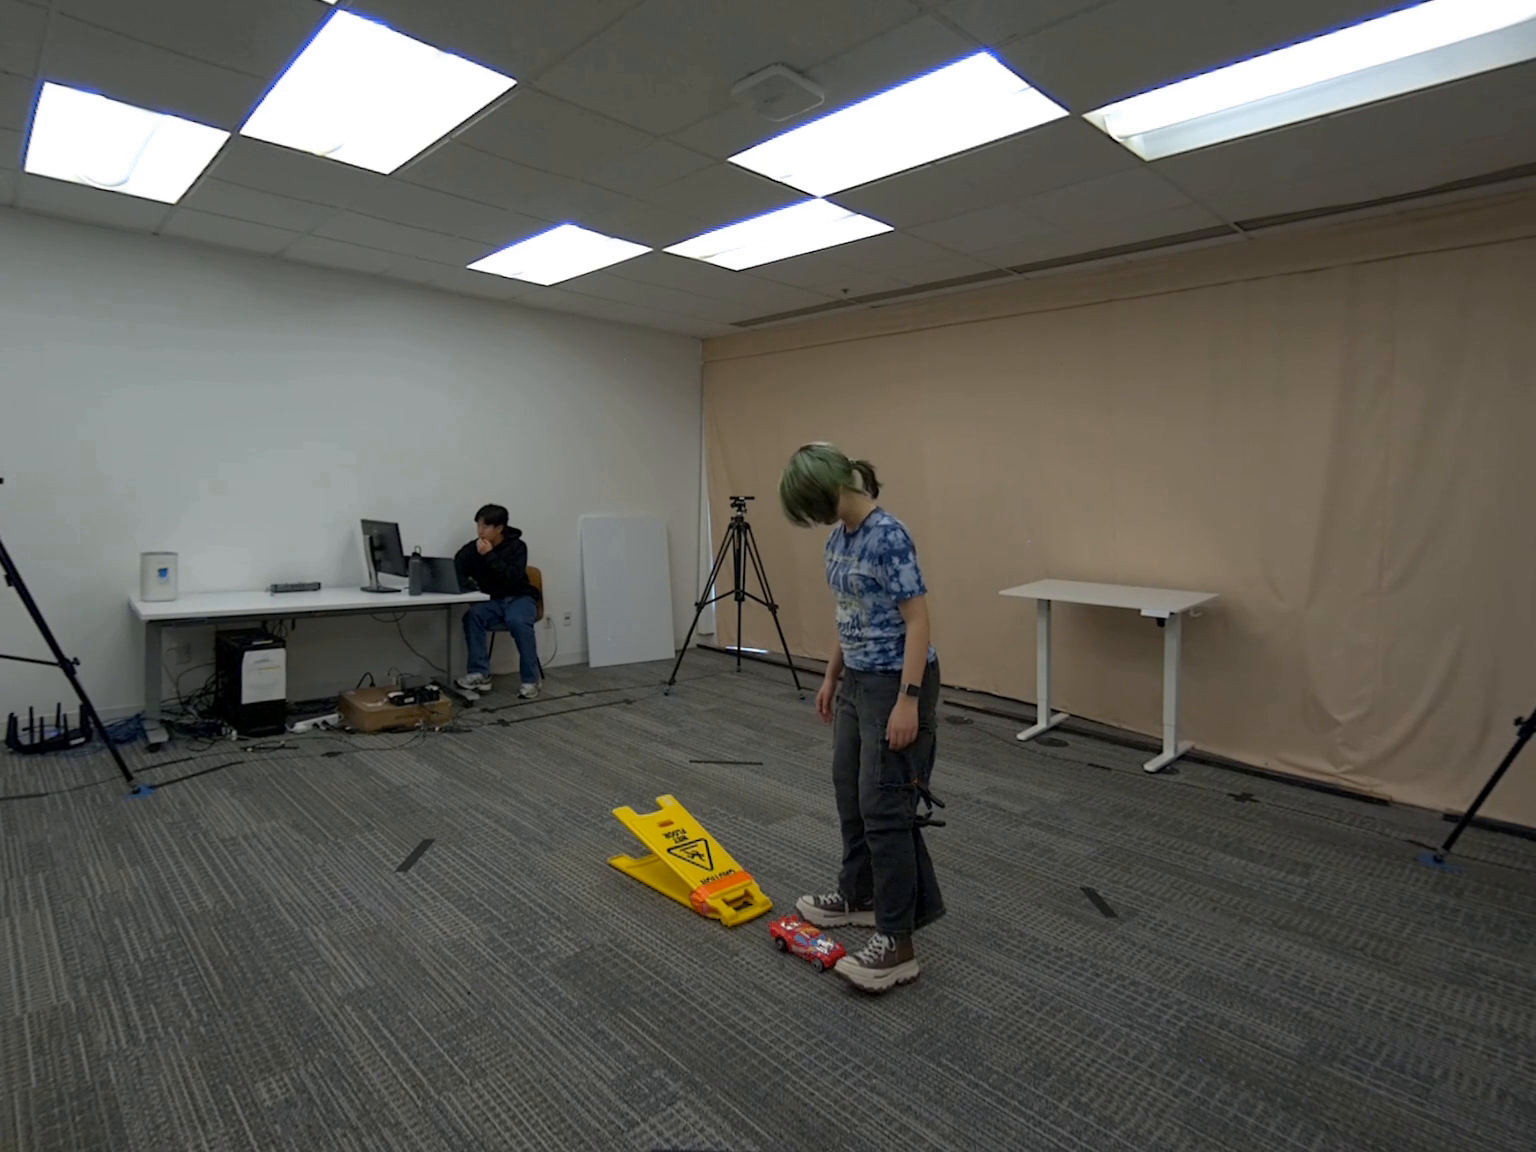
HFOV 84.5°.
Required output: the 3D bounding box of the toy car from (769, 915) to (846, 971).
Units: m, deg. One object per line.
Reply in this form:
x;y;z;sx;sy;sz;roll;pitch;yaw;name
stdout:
0.113;1.127;2.581;0.127;0.082;0.262;-4;19;-45;toy car
